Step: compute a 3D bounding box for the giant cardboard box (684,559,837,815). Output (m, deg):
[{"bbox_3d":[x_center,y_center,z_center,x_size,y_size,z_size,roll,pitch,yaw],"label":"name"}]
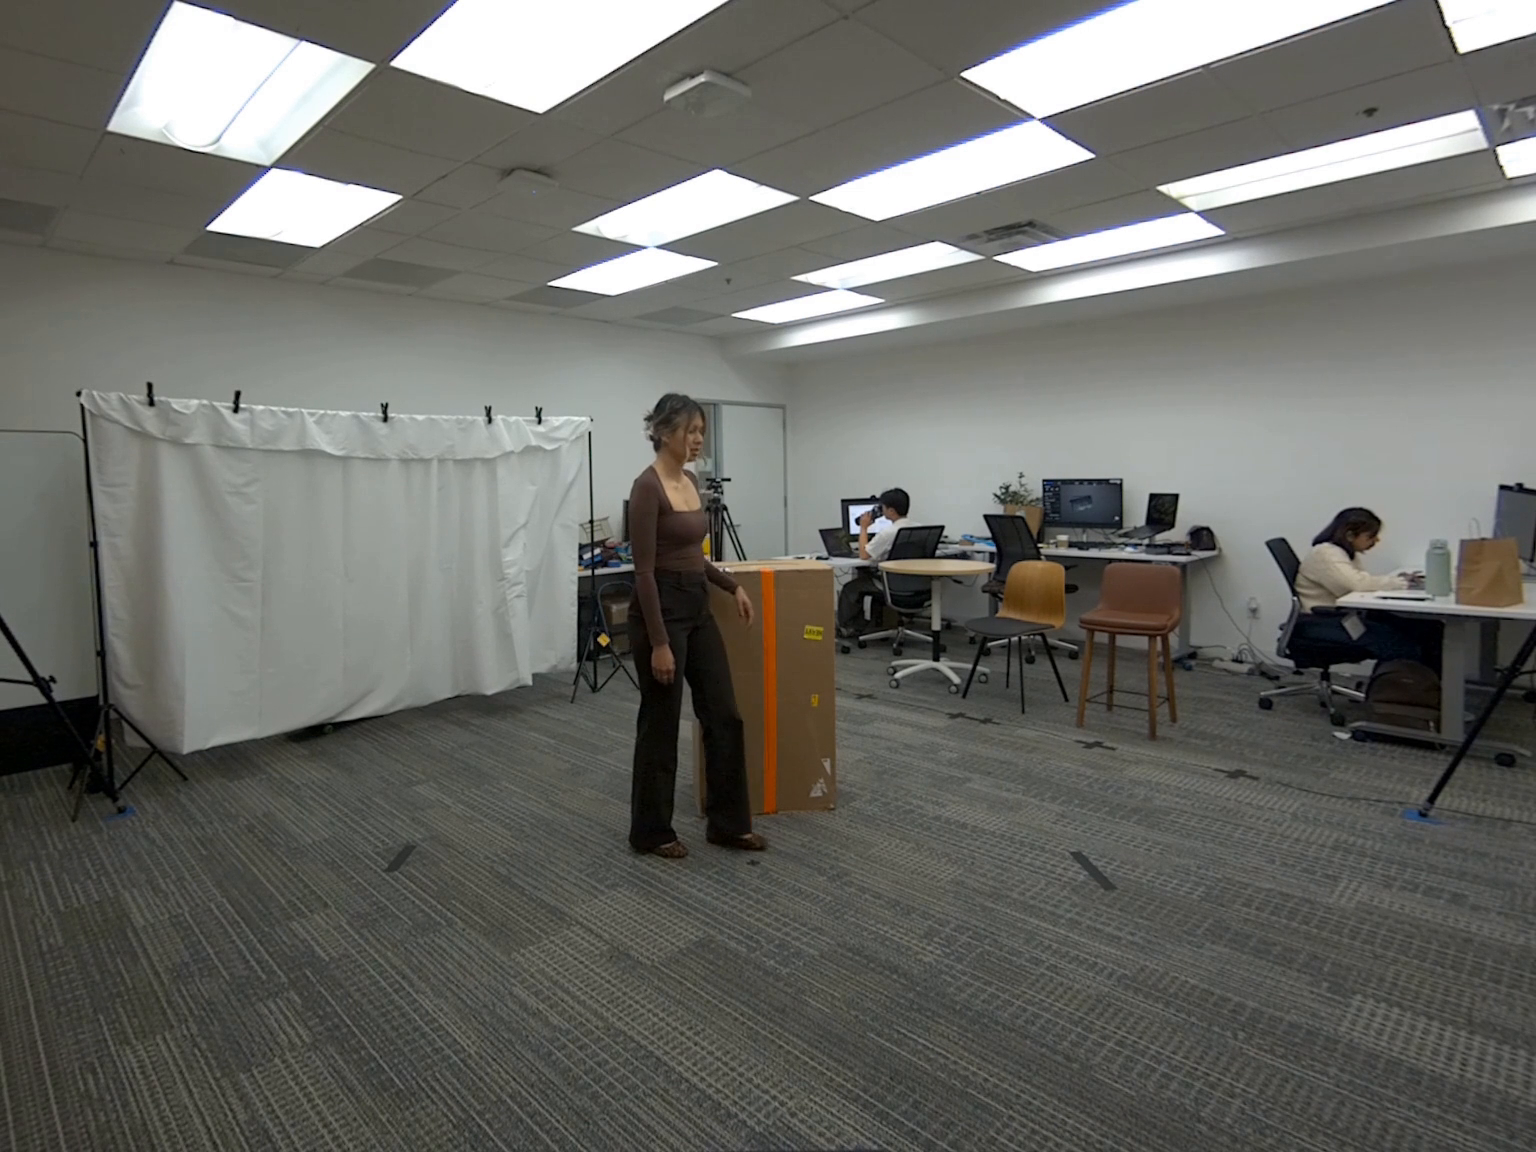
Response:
[{"bbox_3d":[-0.025,0.460,3.742,0.579,1.024,0.452,-2,3,-9],"label":"giant cardboard box"}]
